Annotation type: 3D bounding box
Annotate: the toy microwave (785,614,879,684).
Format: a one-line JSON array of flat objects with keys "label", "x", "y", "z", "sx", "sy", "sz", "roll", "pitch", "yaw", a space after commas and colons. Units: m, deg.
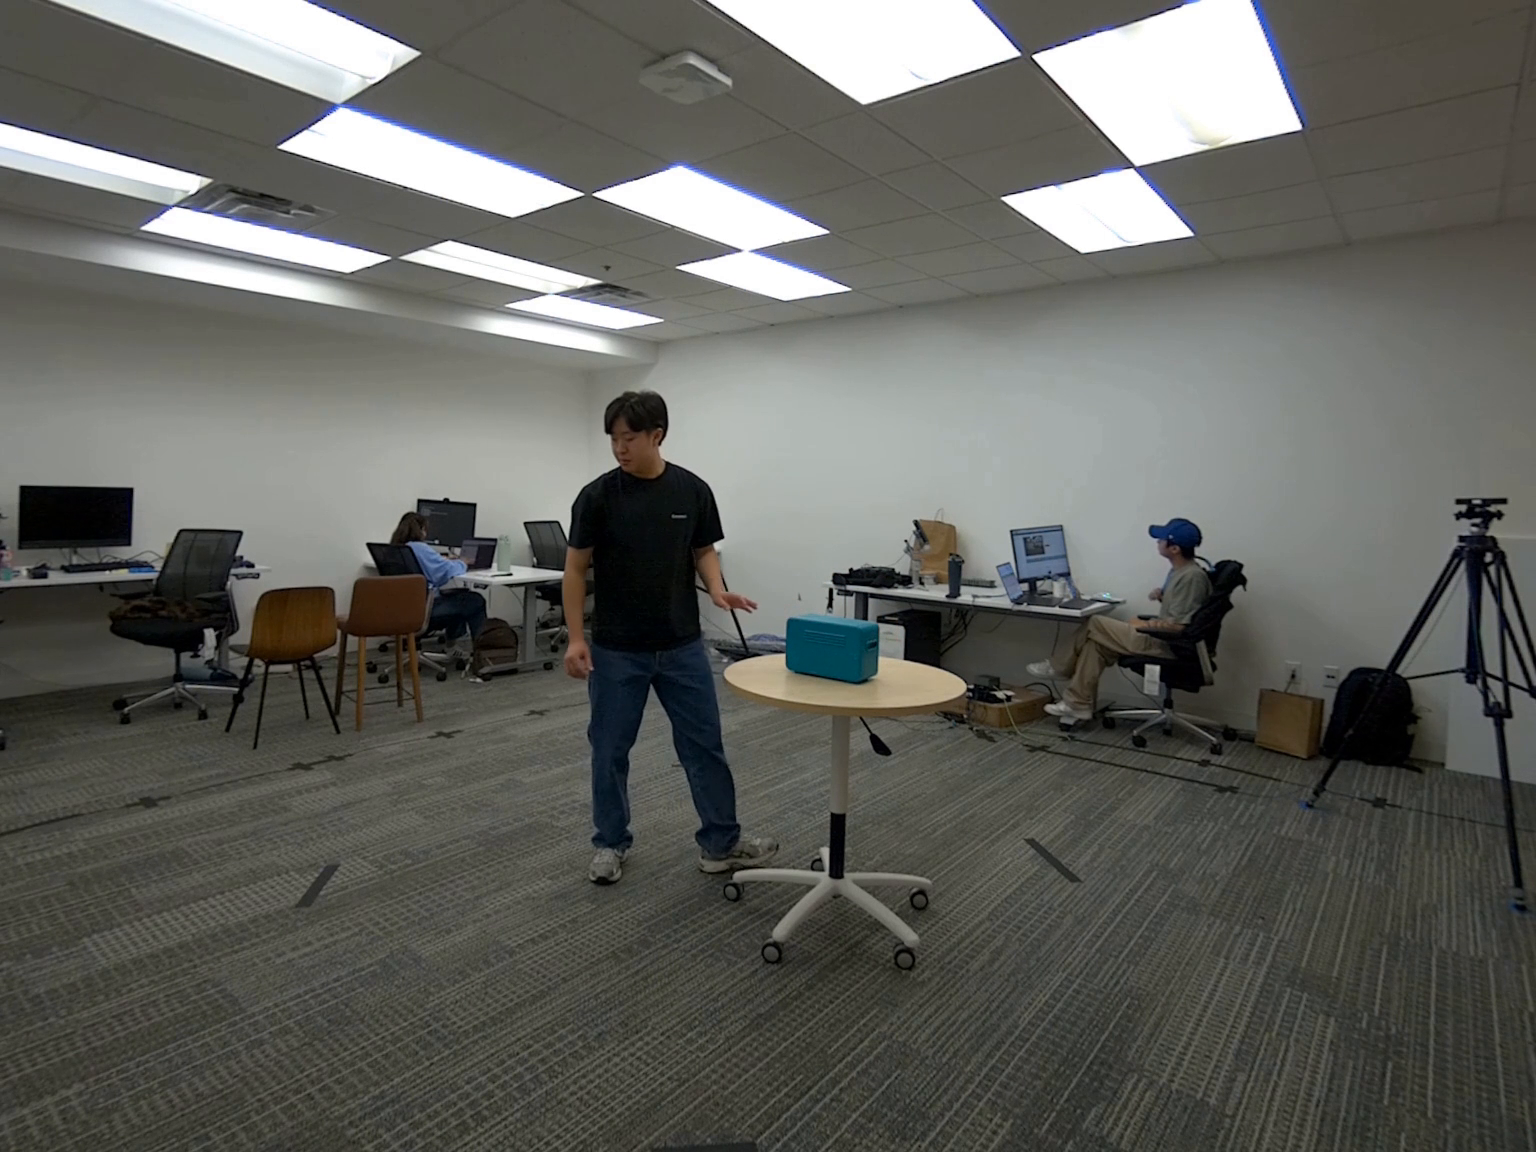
[{"label": "toy microwave", "x": 0.205, "y": 0.226, "z": 2.747, "sx": 0.296, "sy": 0.183, "sz": 0.148, "roll": 5, "pitch": 5, "yaw": 37}]
